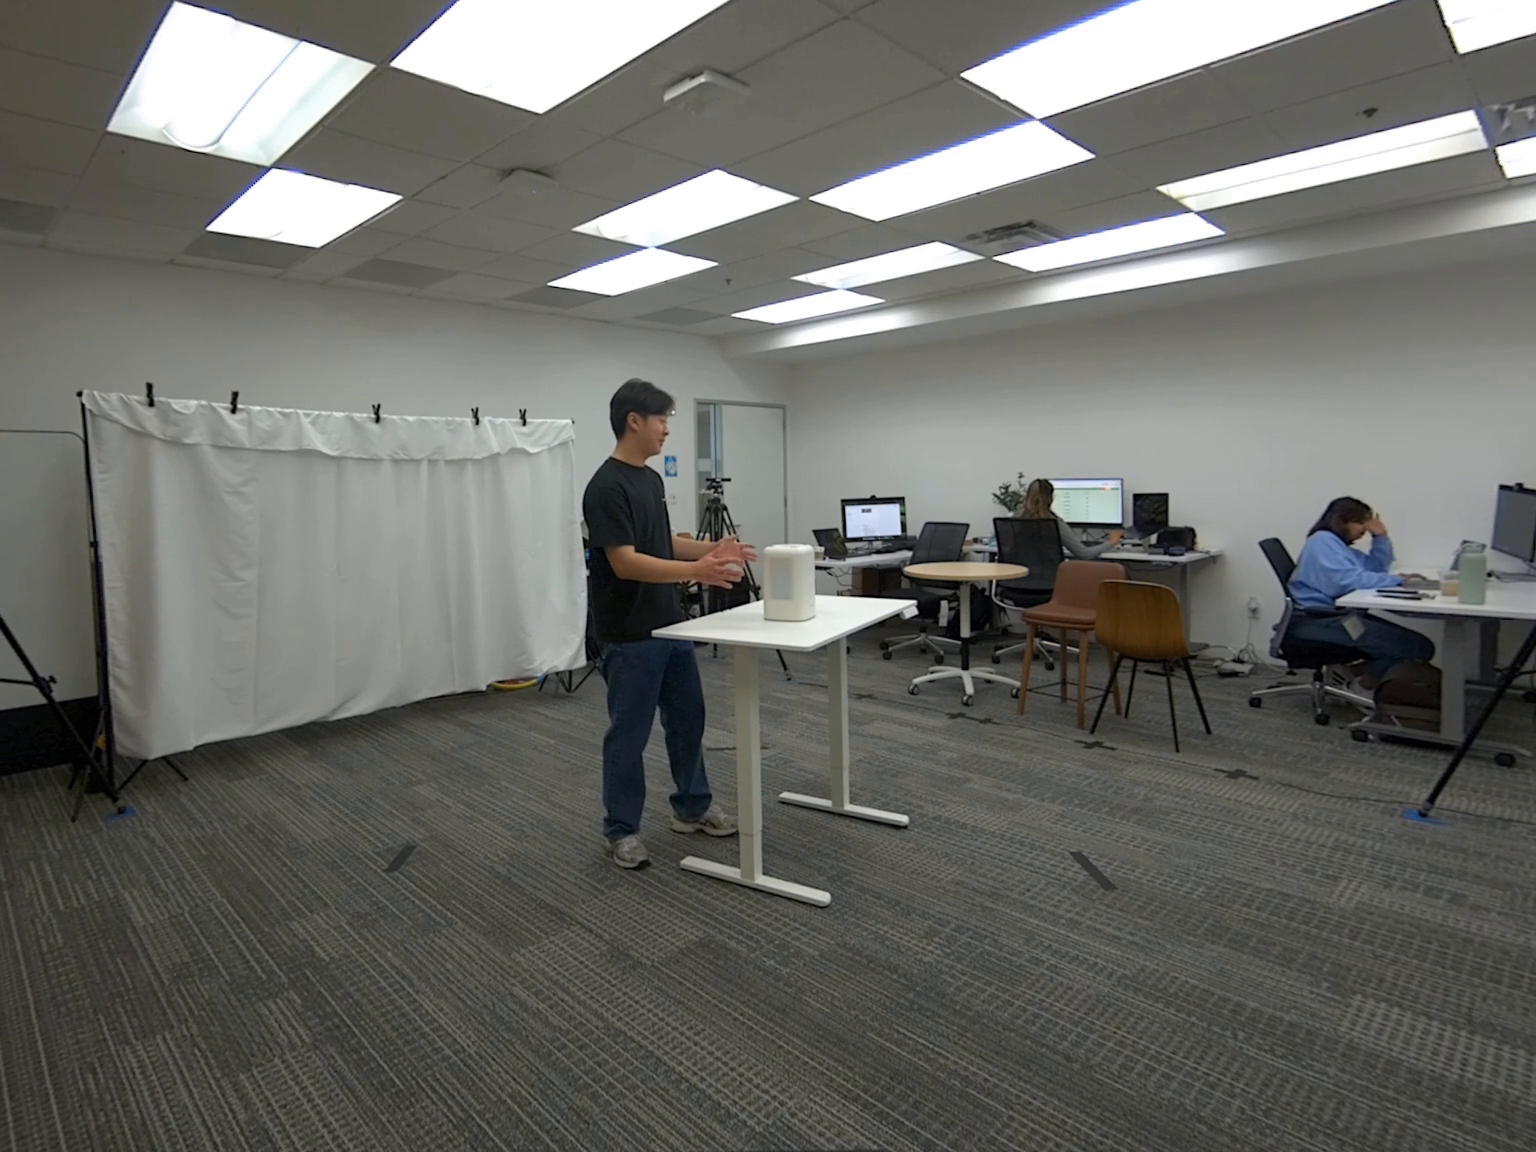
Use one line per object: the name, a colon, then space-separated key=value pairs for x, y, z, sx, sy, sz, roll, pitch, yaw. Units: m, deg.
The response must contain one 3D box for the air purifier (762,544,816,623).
air purifier: x=0.073 y=0.022 z=3.118 sx=0.175 sy=0.264 sz=0.168 roll=0 pitch=4 yaw=25
